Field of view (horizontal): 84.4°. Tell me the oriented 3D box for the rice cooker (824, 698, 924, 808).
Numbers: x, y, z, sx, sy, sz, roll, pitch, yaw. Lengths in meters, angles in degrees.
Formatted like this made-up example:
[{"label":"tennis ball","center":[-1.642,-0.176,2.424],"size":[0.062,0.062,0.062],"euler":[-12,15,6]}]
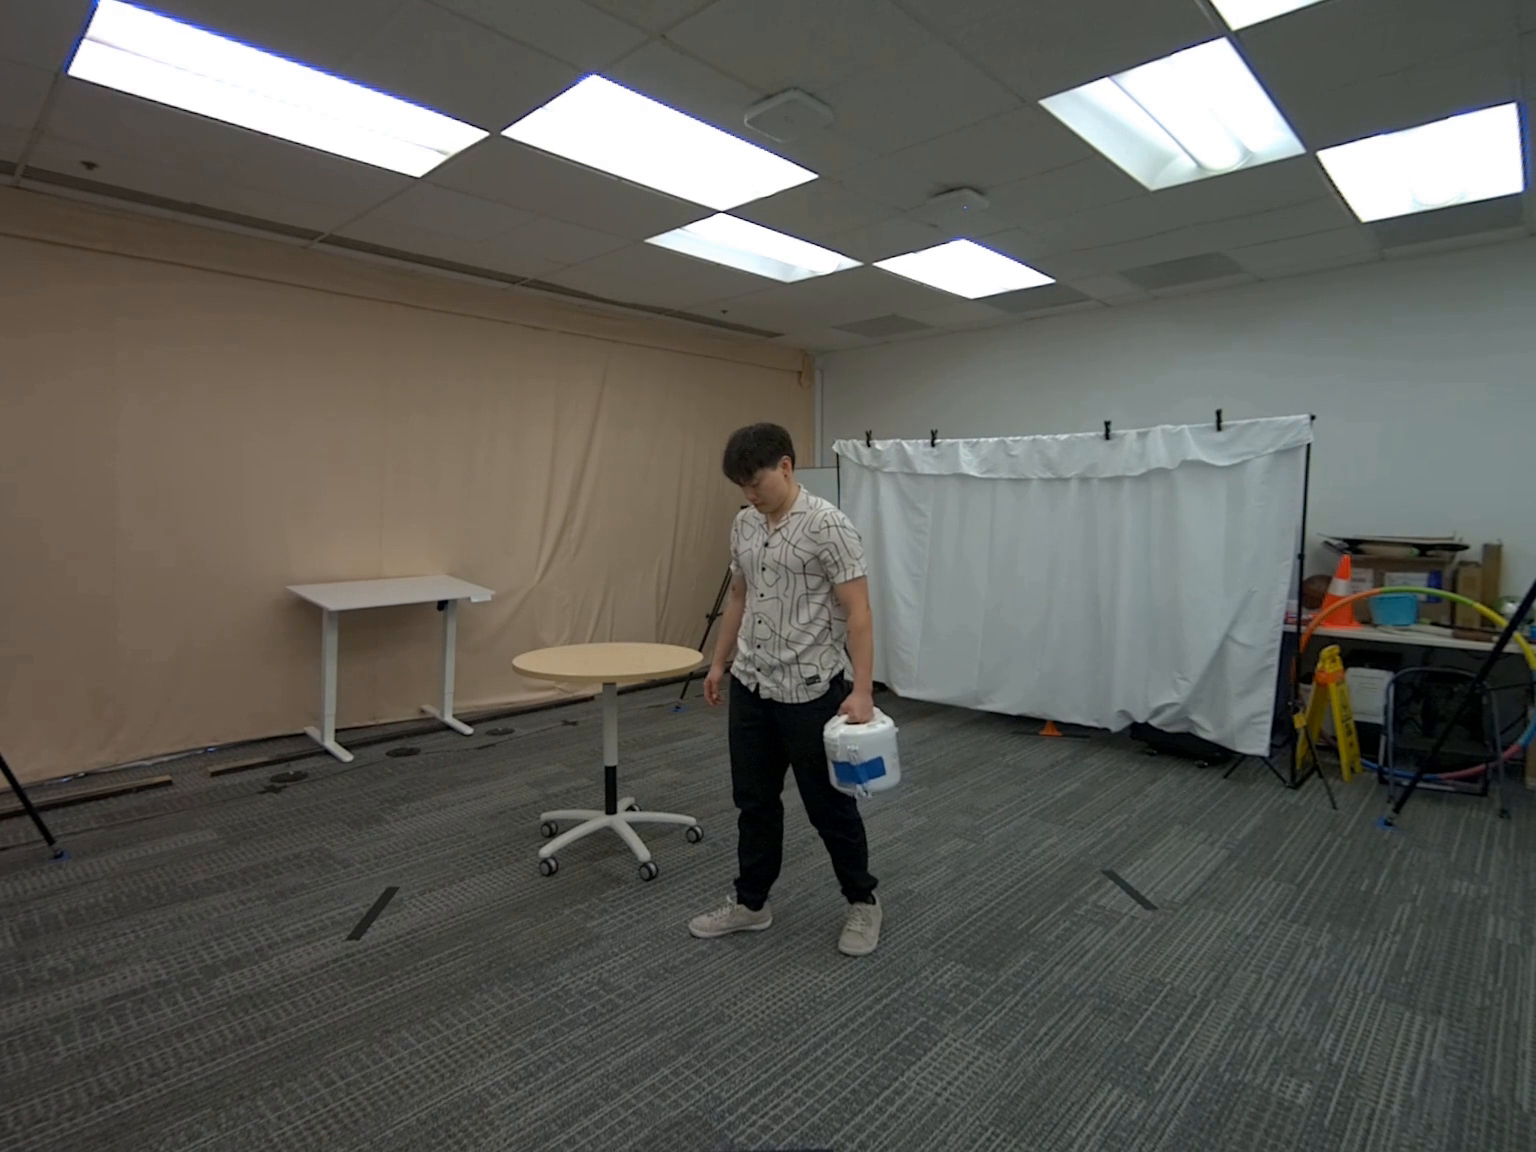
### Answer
[{"label":"rice cooker","center":[0.278,0.503,2.463],"size":[0.215,0.232,0.223],"euler":[-9,3,-28]}]
